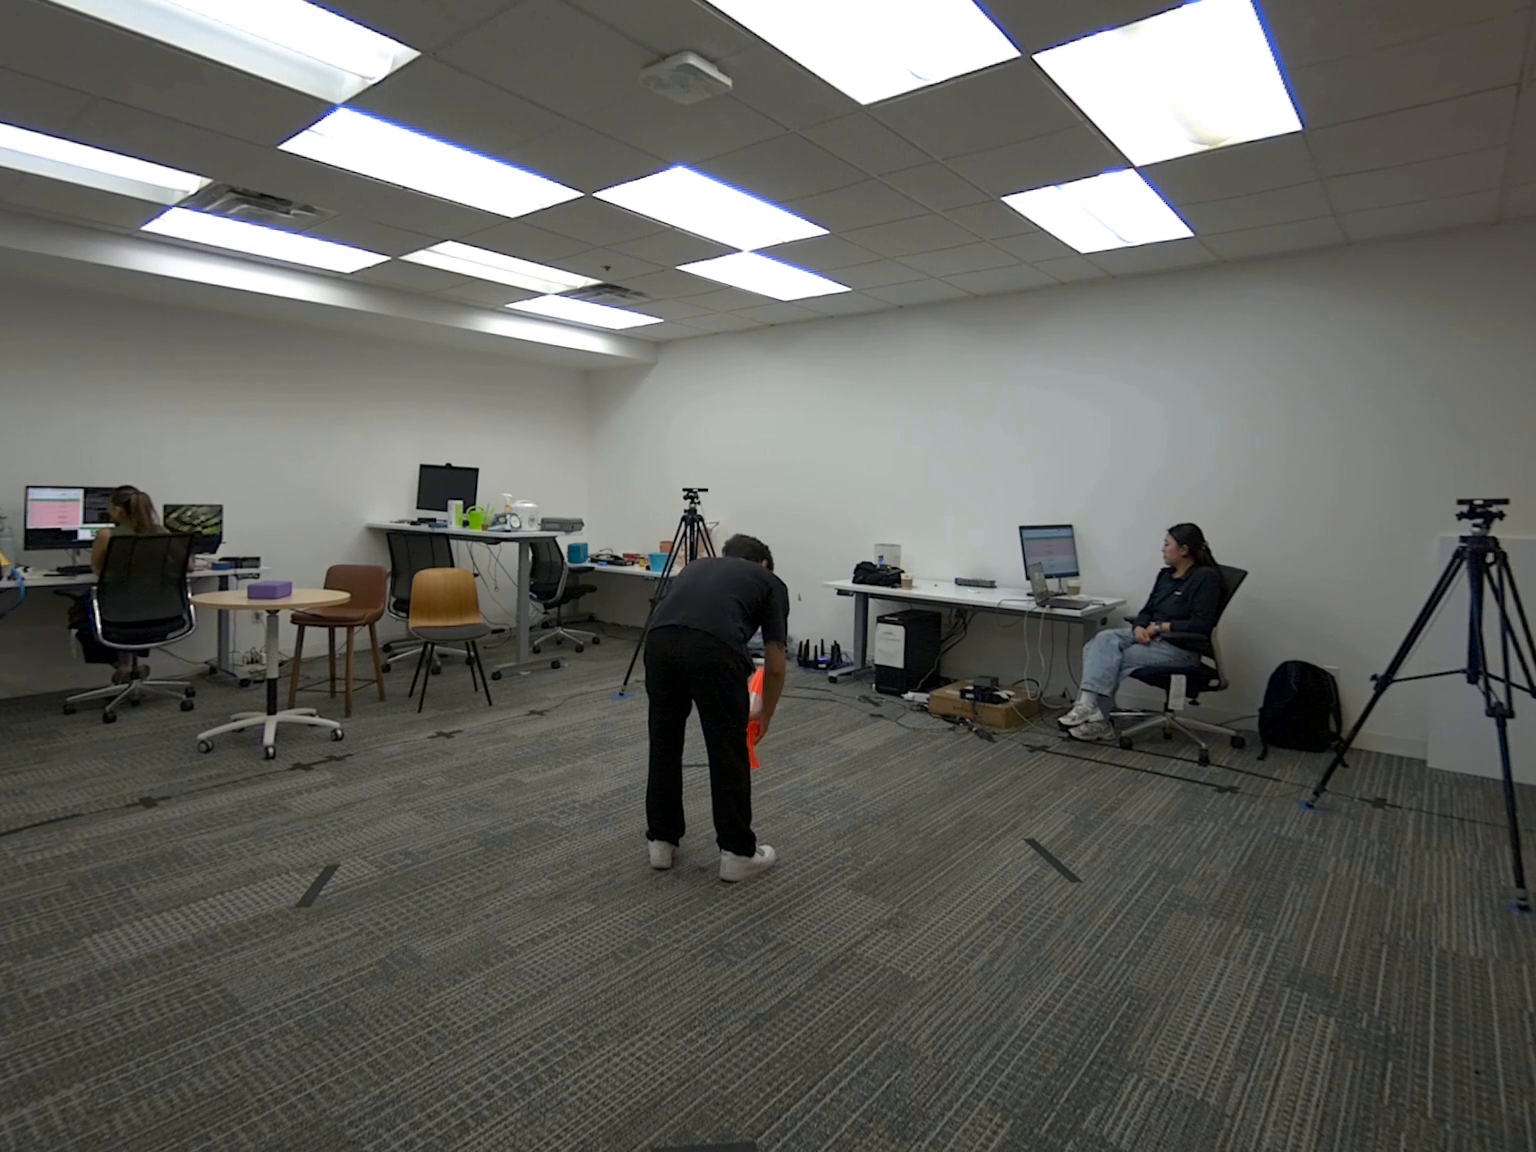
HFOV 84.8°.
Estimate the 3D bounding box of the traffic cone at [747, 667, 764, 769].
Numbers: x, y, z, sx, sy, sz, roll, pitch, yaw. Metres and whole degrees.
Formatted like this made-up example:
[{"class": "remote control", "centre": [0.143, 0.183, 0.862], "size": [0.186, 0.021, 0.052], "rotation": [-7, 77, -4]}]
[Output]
[{"class": "traffic cone", "centre": [-0.091, 0.547, 3.445], "size": [0.209, 0.388, 0.197], "rotation": [6, -35, 24]}]
